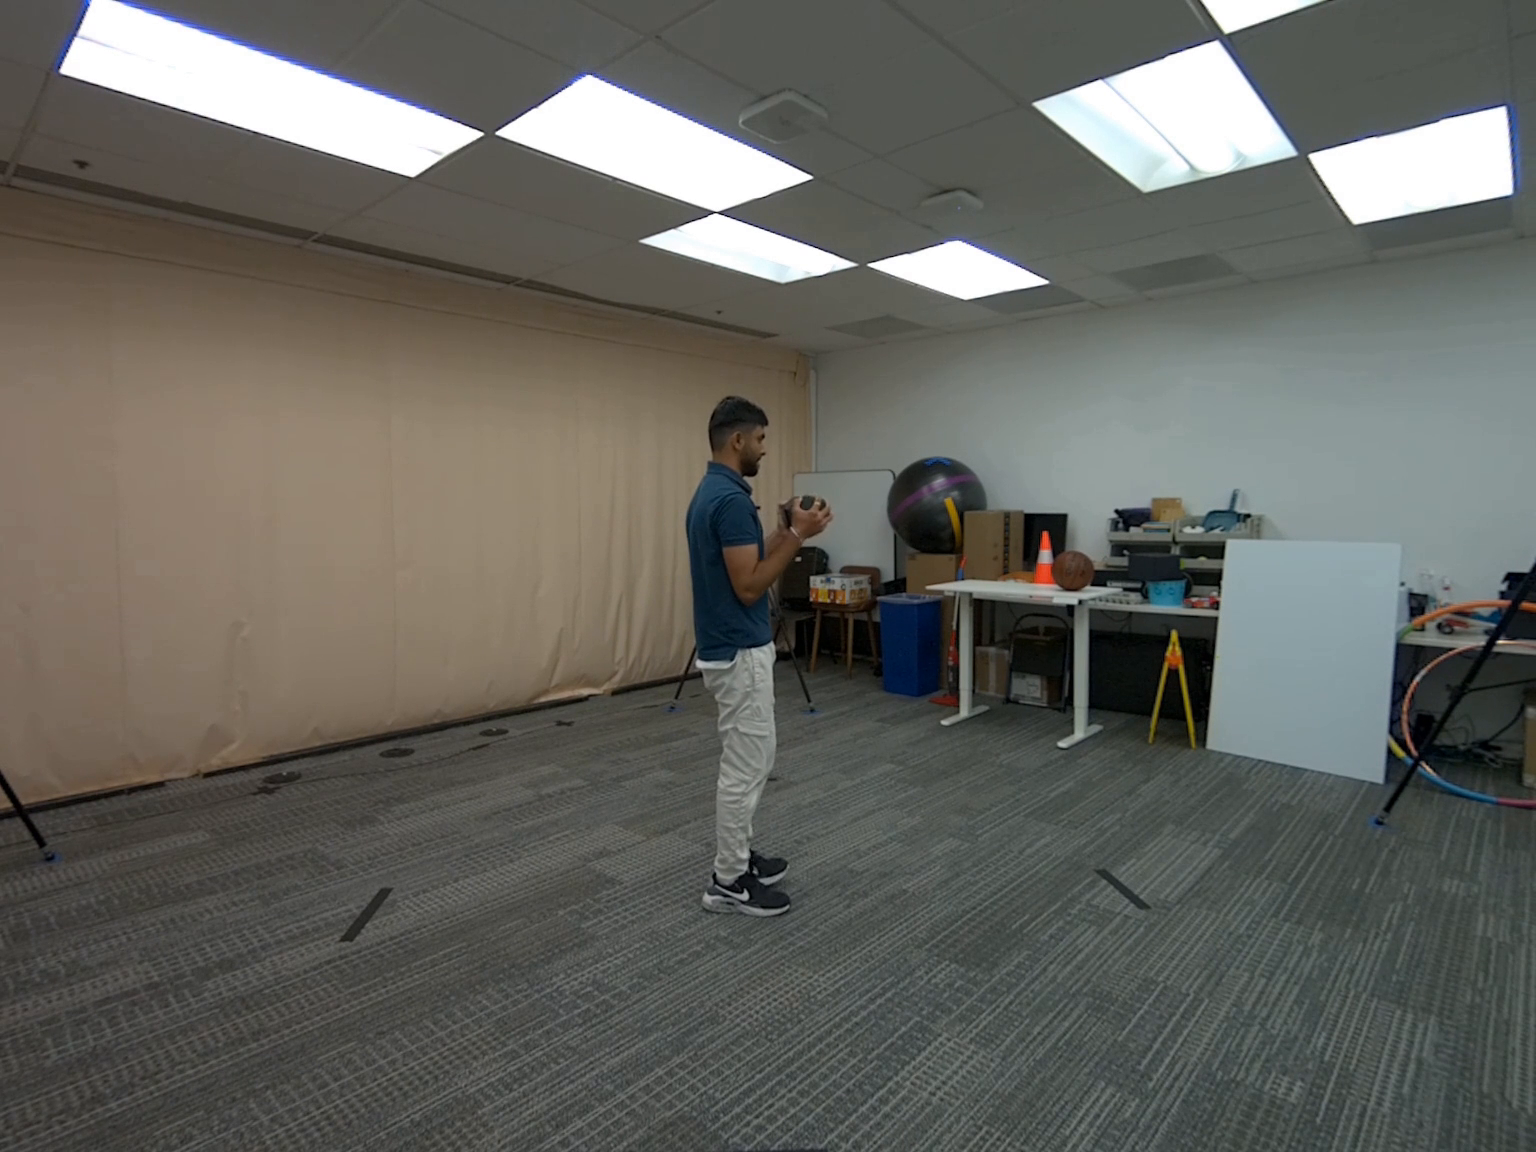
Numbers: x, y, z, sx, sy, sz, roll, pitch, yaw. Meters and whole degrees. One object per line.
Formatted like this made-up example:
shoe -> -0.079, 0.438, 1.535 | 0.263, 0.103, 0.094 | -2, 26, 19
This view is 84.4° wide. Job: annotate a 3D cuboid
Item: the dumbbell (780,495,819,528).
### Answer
dumbbell -> 0.118, -0.206, 2.896 | 0.122, 0.108, 0.296 | 14, 4, -8
